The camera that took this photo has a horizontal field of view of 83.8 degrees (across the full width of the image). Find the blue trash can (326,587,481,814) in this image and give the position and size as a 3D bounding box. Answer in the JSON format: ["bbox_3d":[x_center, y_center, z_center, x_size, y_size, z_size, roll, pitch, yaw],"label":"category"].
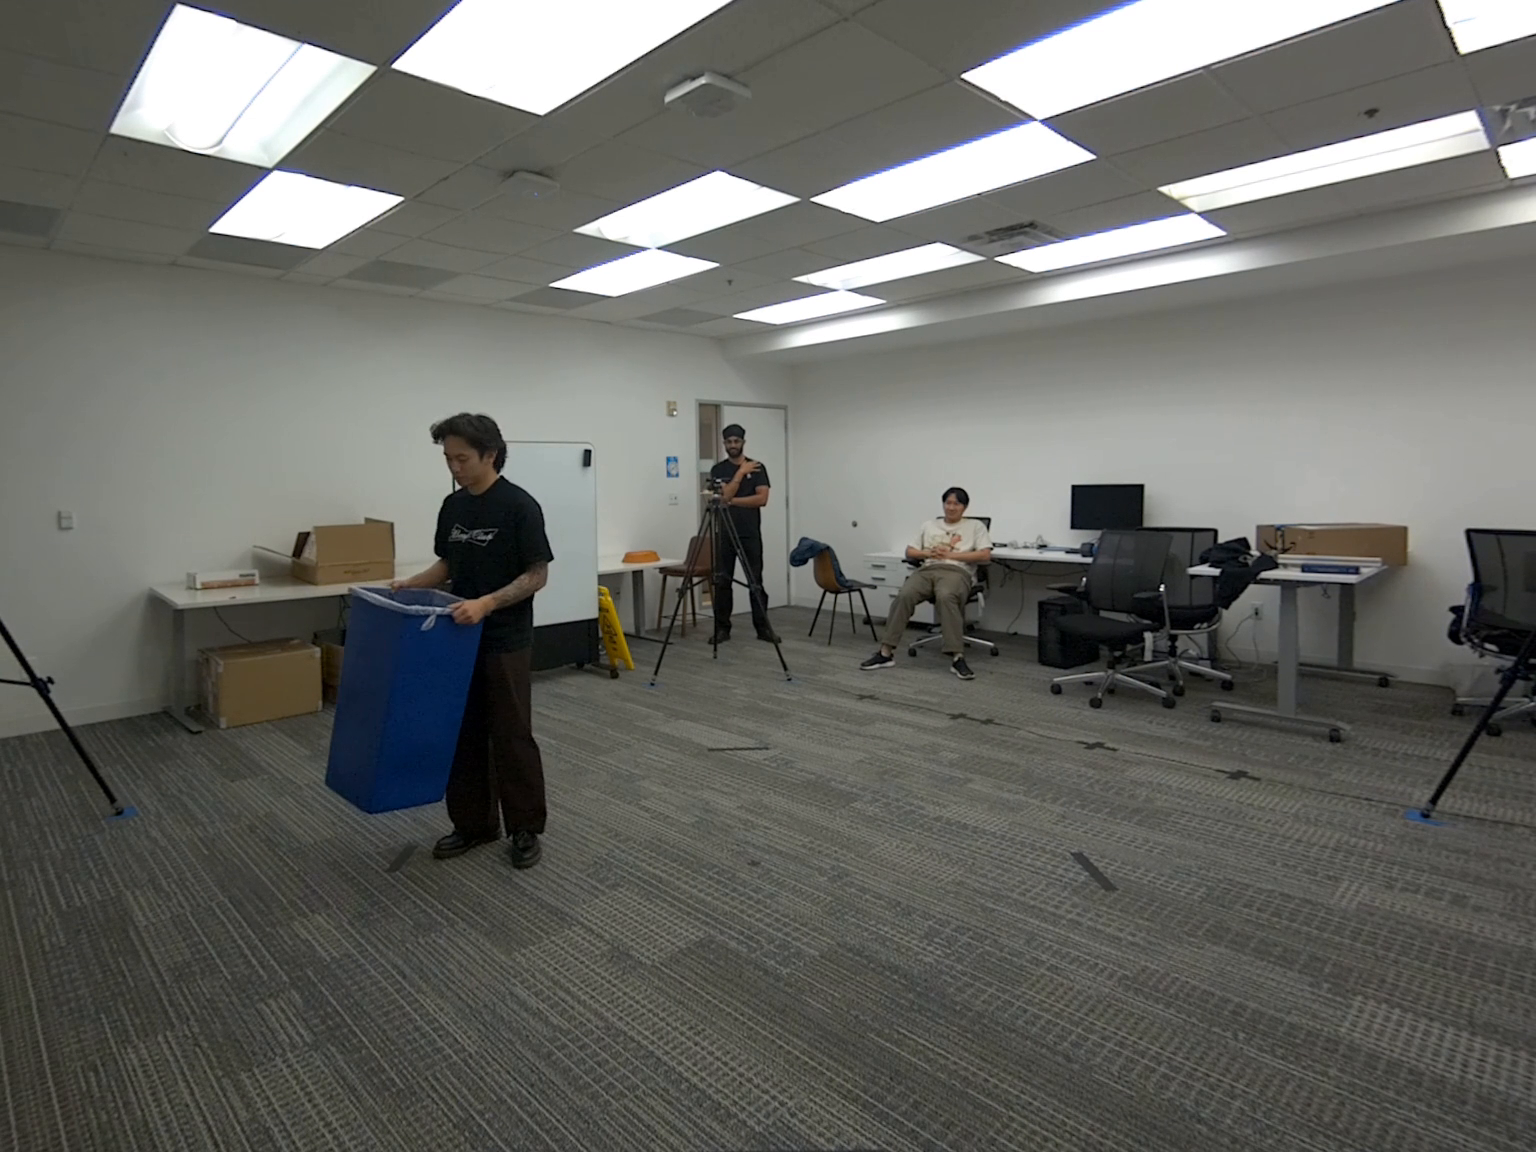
[{"bbox_3d":[-1.299,0.429,3.034,0.386,0.712,0.367,13,4,35],"label":"blue trash can"}]
